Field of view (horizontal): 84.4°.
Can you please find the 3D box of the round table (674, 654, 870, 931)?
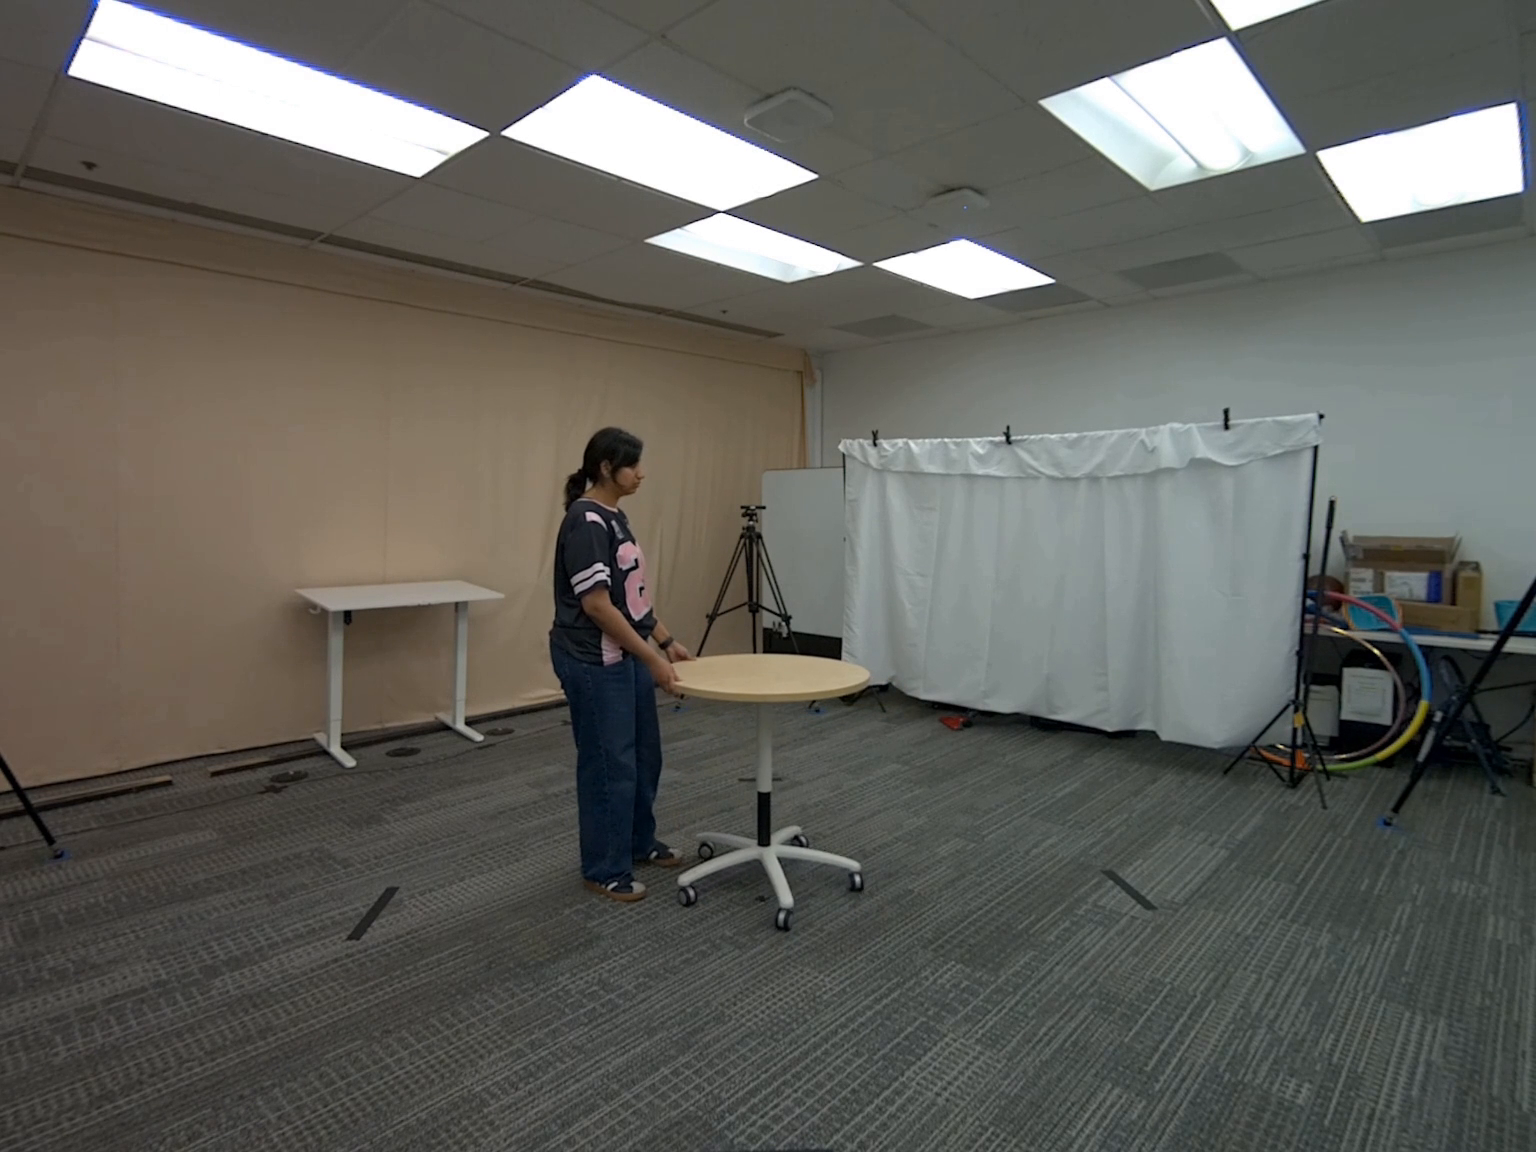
[{"bbox_3d":[-0.009,0.746,3.085,0.763,0.792,0.766,0,3,-2],"label":"round table"}]
